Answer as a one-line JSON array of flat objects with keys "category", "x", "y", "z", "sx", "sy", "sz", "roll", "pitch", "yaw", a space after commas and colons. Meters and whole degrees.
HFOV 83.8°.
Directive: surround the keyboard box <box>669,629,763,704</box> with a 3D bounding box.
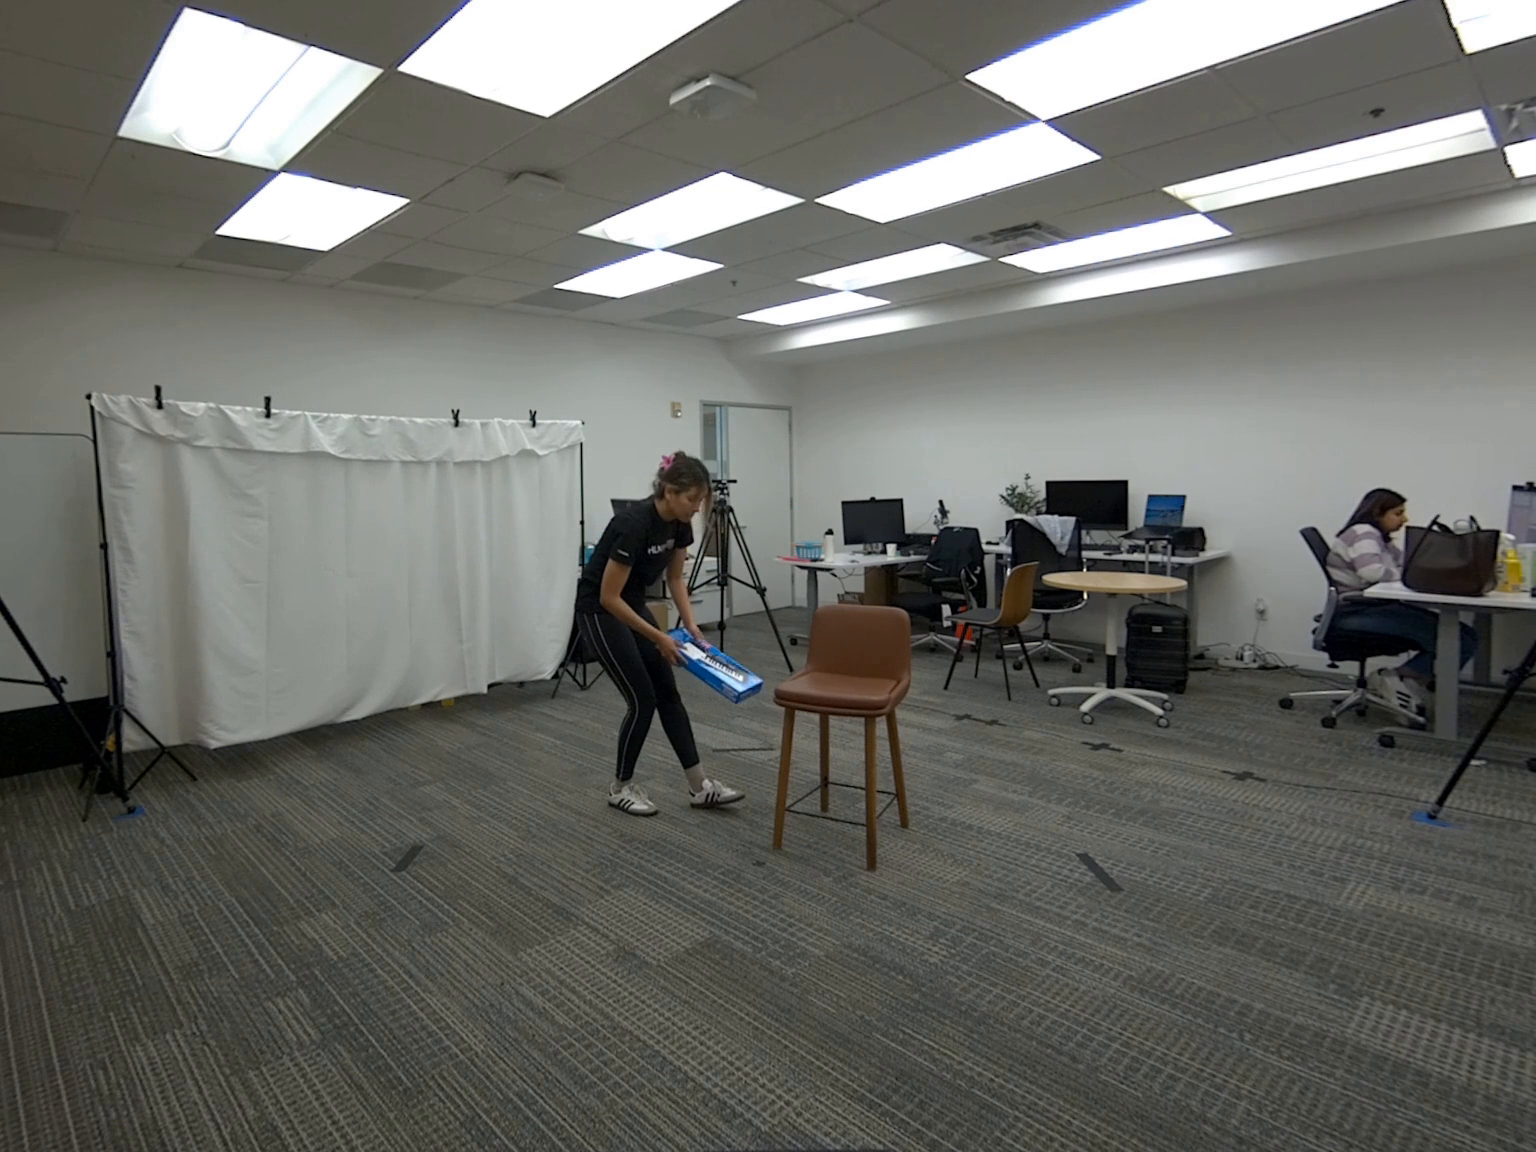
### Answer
[{"category": "keyboard box", "x": -0.239, "y": 0.359, "z": 3.456, "sx": 0.451, "sy": 0.058, "sz": 0.172, "roll": 31, "pitch": 24, "yaw": 27}]
